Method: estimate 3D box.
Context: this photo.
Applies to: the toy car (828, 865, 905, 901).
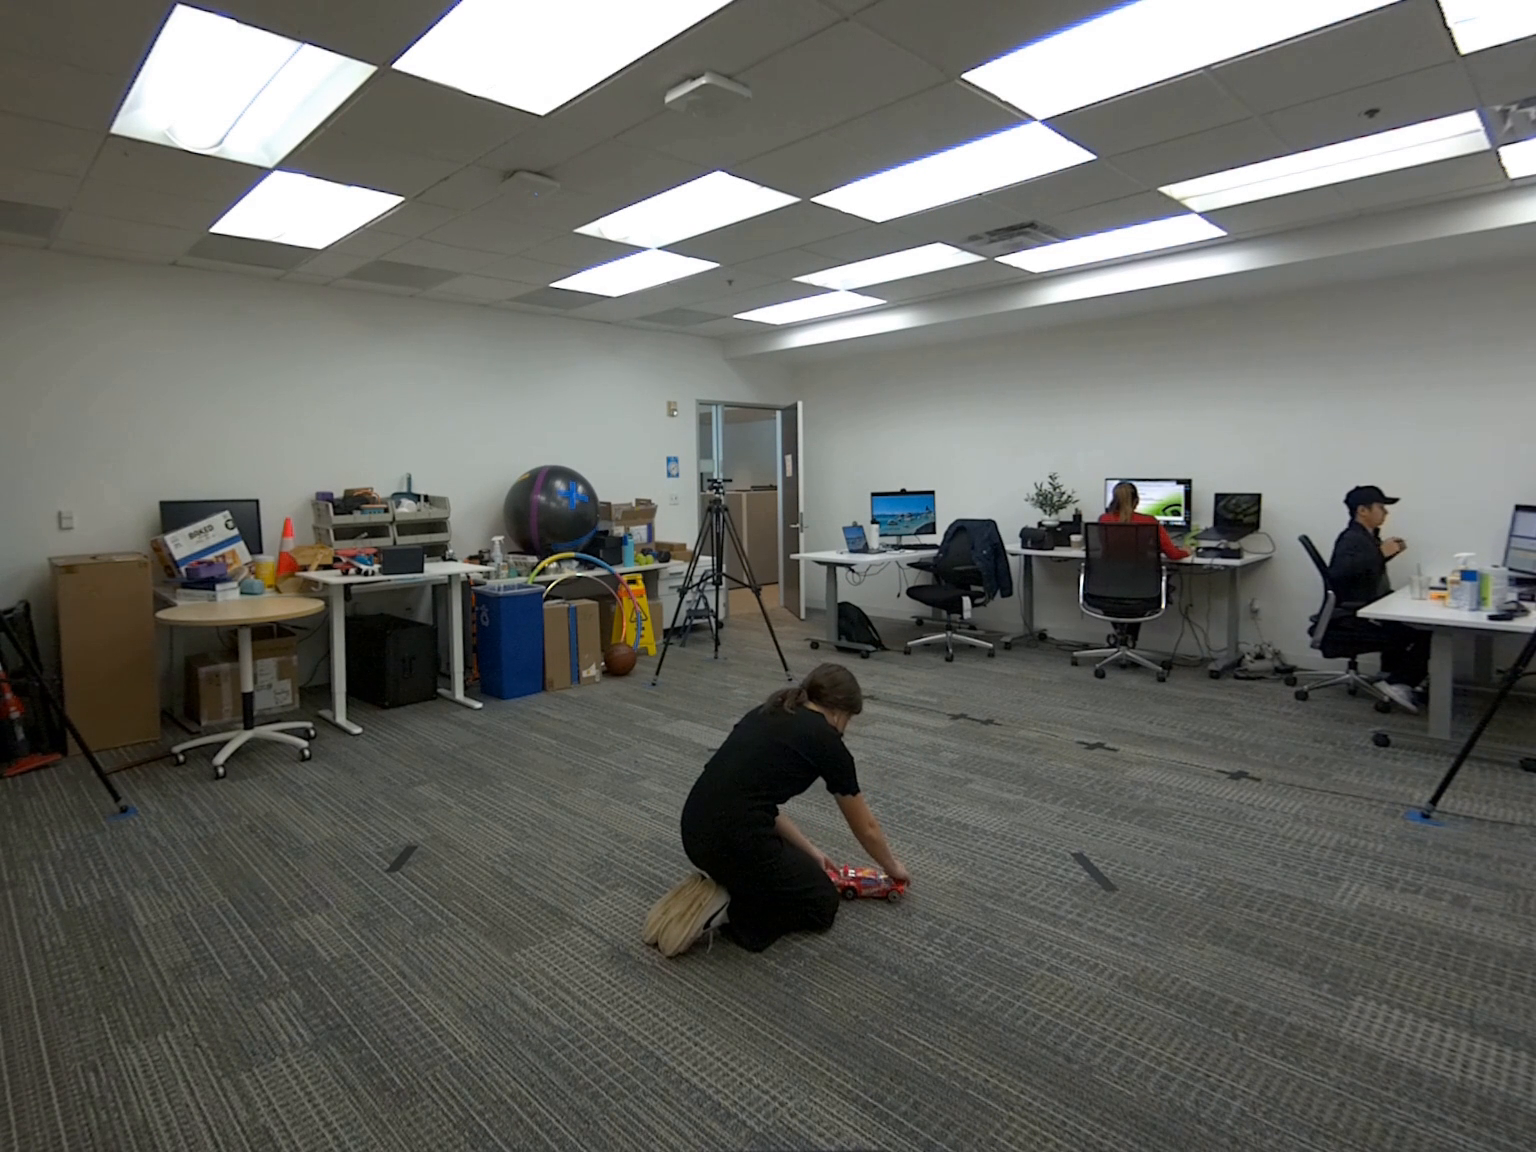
[{"bbox_3d":[0.327,1.036,2.867,0.257,0.083,0.129,12,4,7],"label":"toy car"}]
